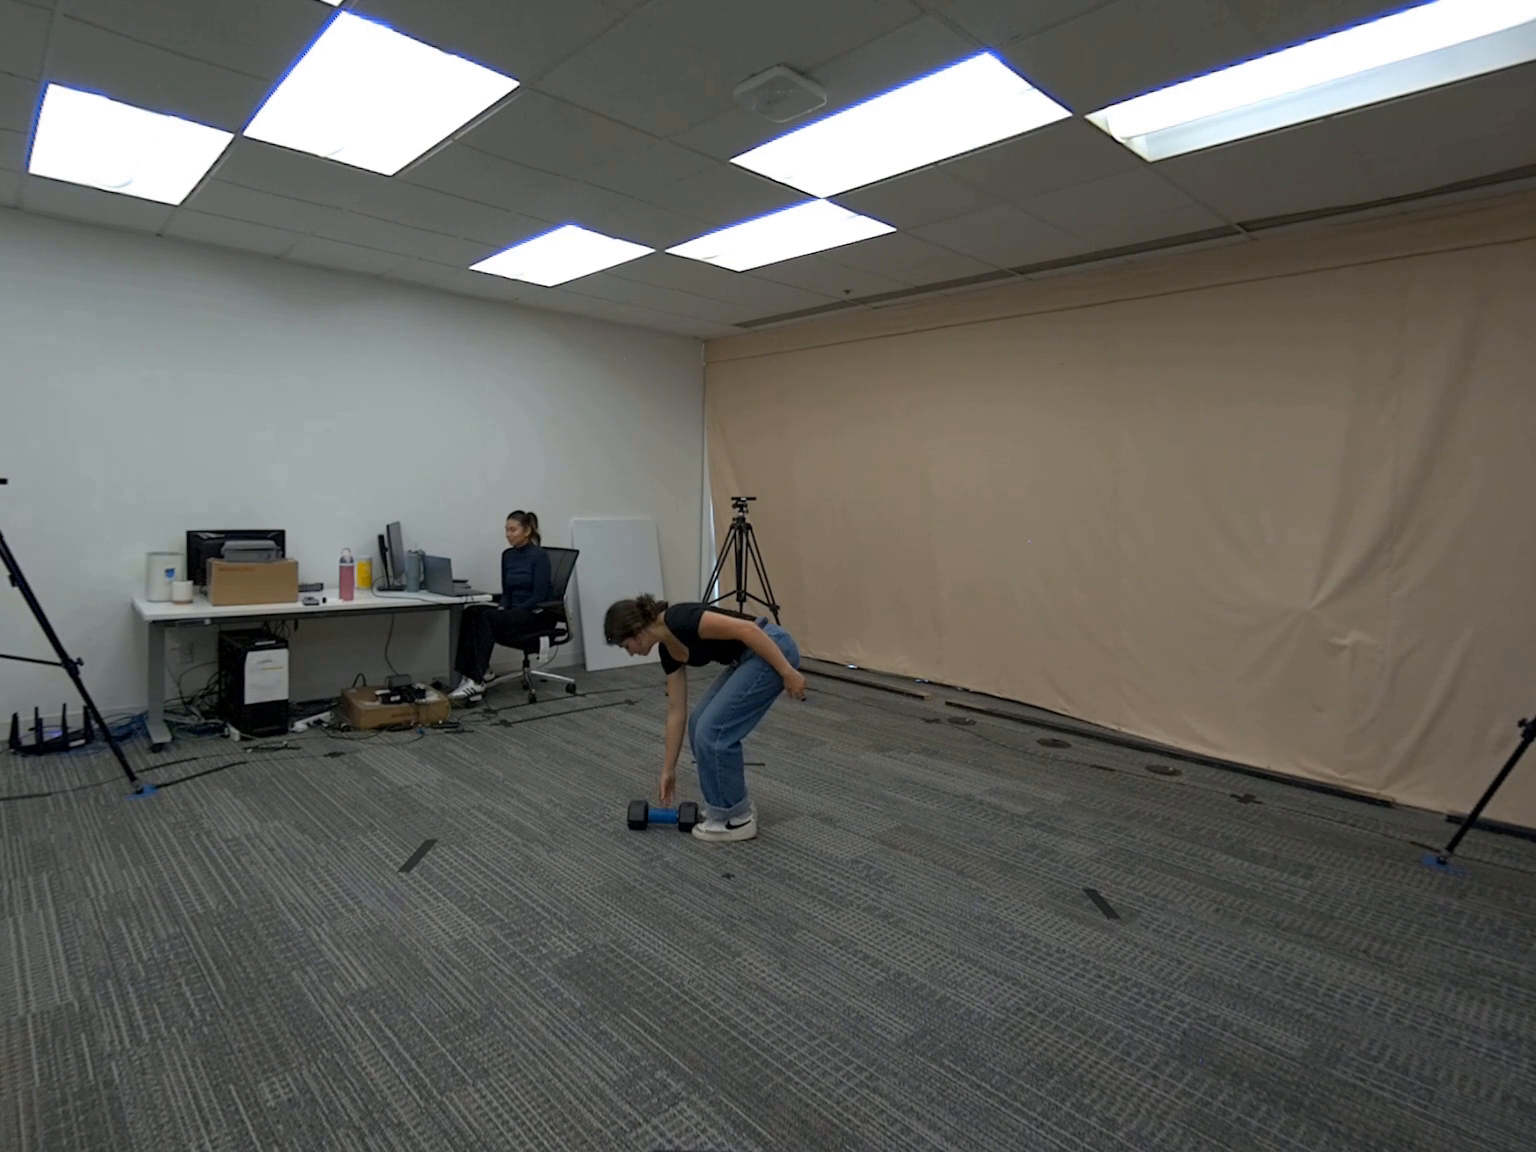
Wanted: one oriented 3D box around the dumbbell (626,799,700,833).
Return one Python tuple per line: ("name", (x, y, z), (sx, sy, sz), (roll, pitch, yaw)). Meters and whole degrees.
("dumbbell", (-0.446, 1.001, 3.538), (0.294, 0.120, 0.111), (2, 33, 2))
